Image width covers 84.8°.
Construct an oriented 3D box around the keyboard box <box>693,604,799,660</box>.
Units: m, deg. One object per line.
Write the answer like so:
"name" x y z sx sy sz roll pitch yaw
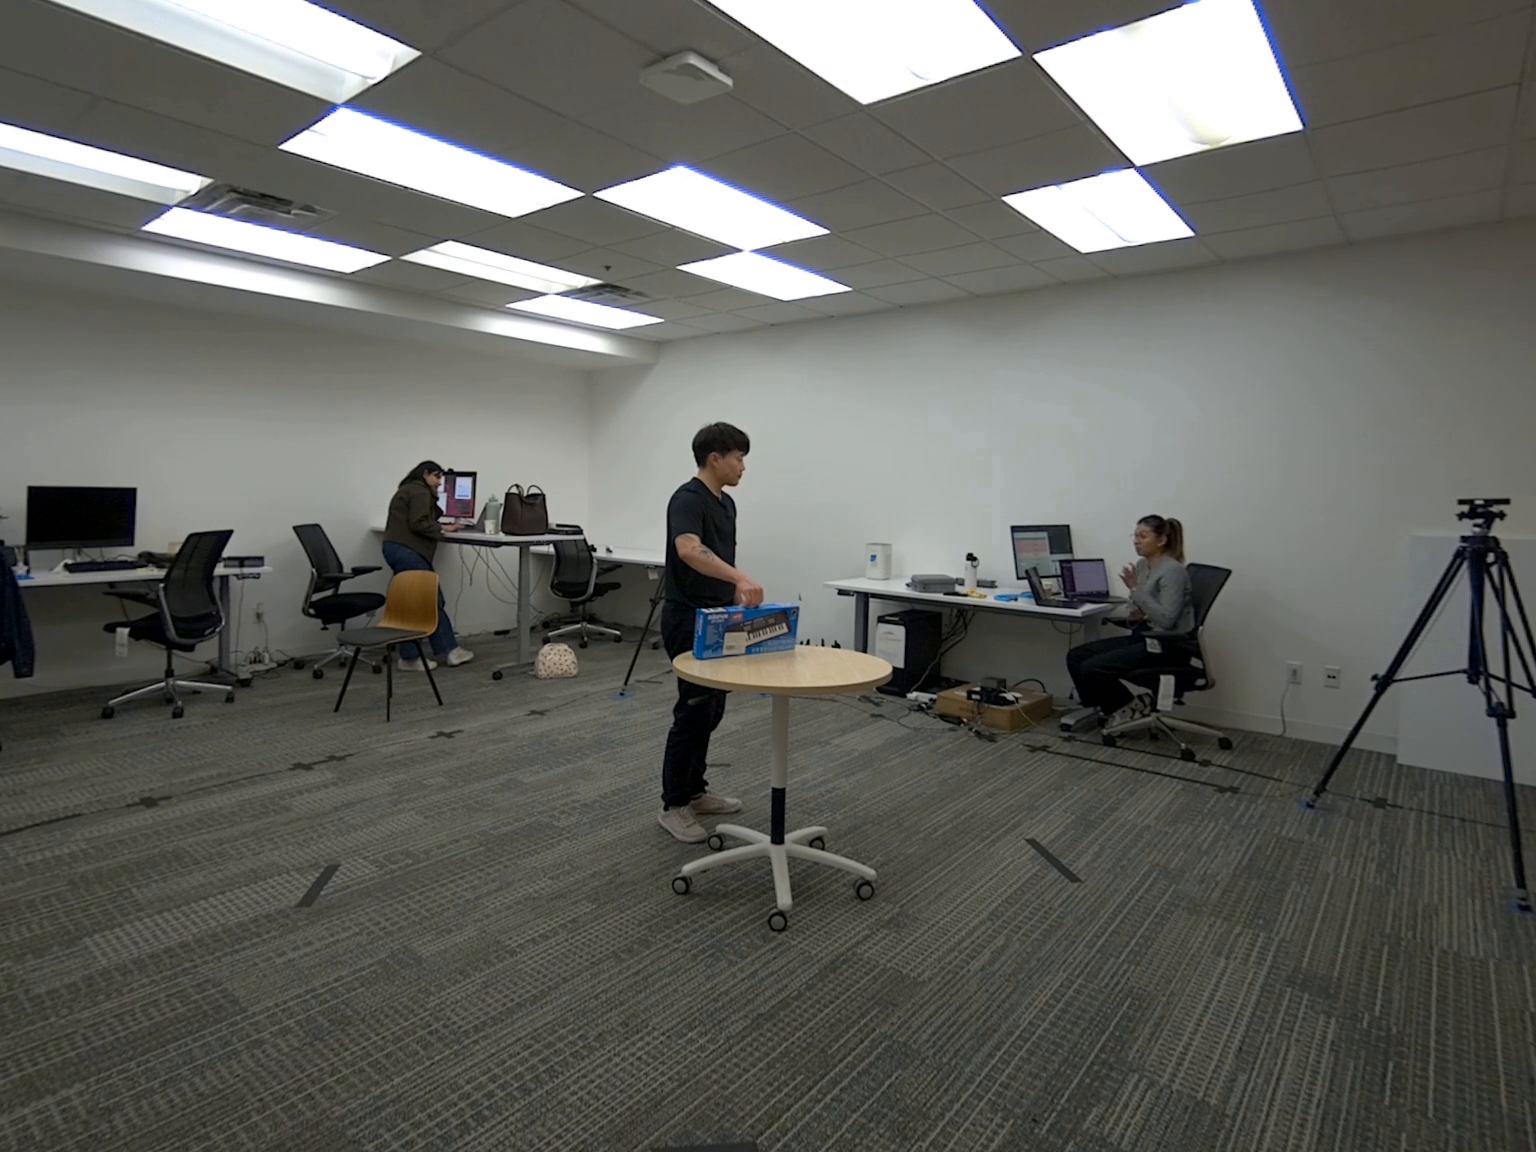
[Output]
"keyboard box" -0.088 0.198 3.145 0.424 0.175 0.061 -2 10 -35
